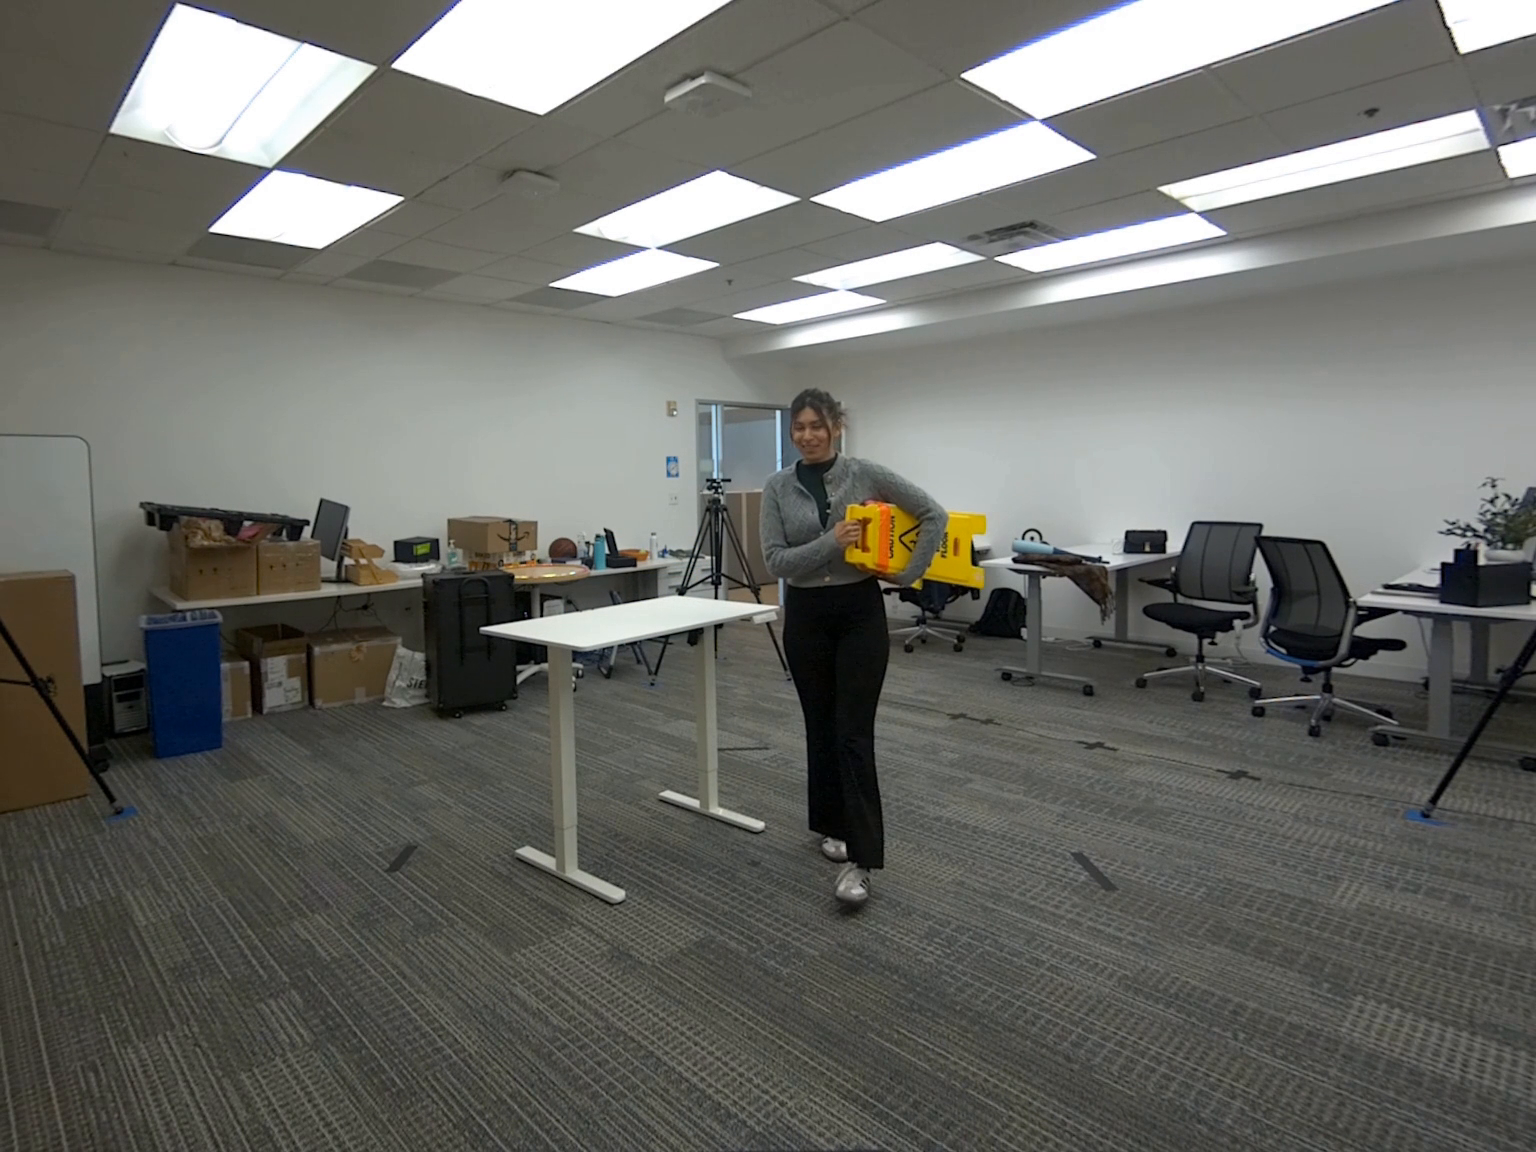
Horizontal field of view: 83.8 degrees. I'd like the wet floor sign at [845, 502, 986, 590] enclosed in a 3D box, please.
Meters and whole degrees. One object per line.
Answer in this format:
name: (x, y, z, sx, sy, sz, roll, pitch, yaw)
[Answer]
wet floor sign: (0.492, -0.116, 3.090, 0.298, 0.283, 0.625, 0, -5, 44)
